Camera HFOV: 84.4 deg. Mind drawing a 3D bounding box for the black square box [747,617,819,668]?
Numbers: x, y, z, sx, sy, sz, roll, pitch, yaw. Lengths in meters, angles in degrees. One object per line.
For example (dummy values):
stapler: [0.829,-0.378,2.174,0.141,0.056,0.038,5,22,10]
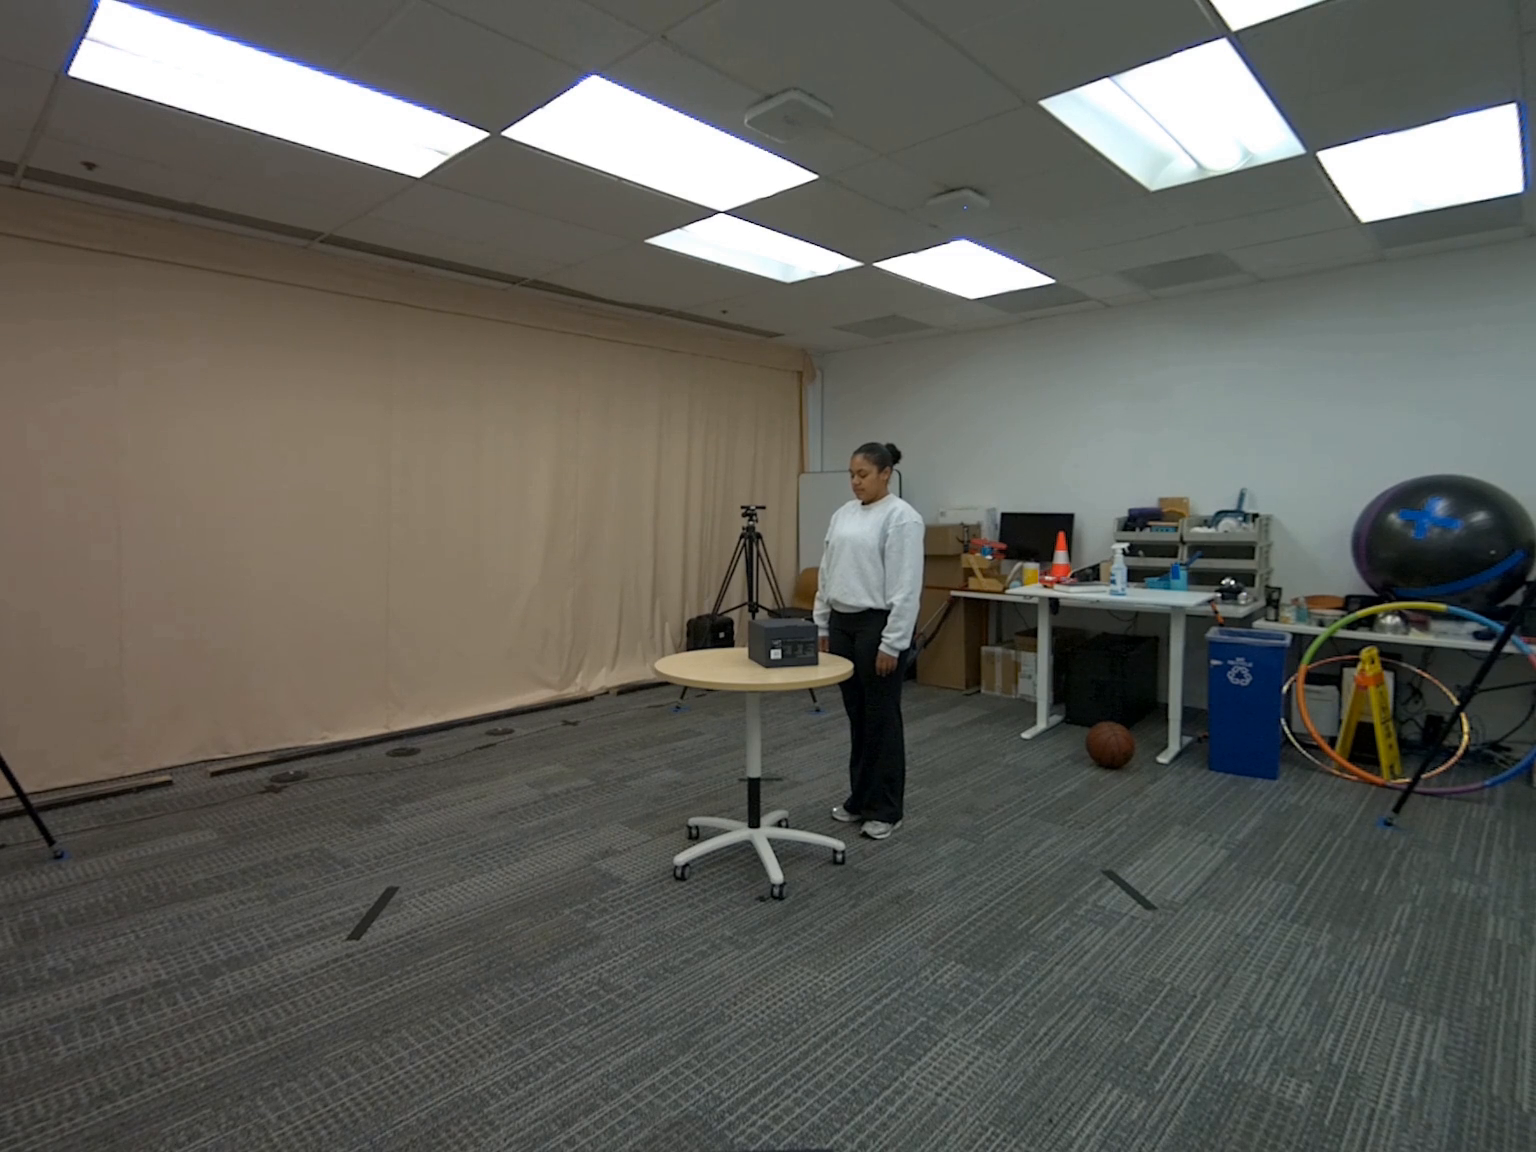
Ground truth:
black square box: [0.059,0.253,3.282,0.214,0.155,0.232,-2,3,-15]
